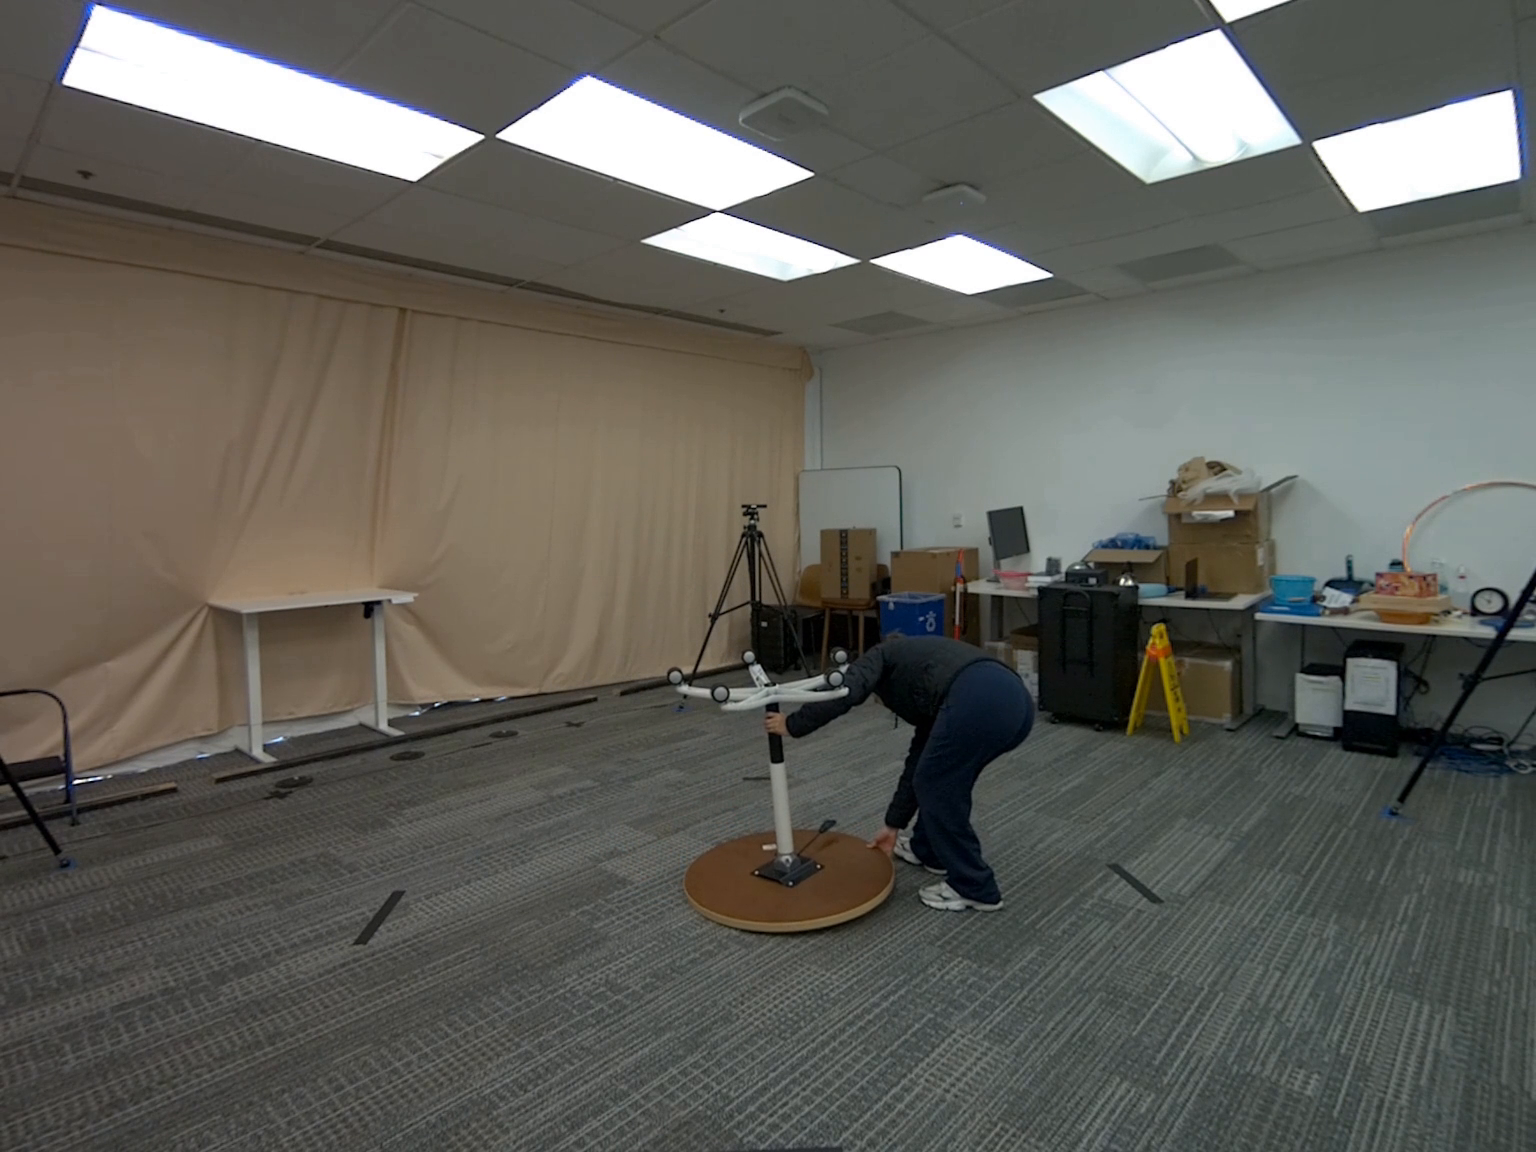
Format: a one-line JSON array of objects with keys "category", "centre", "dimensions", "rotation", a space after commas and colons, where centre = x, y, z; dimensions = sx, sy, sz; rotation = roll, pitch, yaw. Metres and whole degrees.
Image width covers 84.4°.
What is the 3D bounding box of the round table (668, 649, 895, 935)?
[{"category": "round table", "centre": [0.056, 0.704, 3.066], "dimensions": [0.785, 0.783, 0.789], "rotation": [-5, 6, -1]}]
